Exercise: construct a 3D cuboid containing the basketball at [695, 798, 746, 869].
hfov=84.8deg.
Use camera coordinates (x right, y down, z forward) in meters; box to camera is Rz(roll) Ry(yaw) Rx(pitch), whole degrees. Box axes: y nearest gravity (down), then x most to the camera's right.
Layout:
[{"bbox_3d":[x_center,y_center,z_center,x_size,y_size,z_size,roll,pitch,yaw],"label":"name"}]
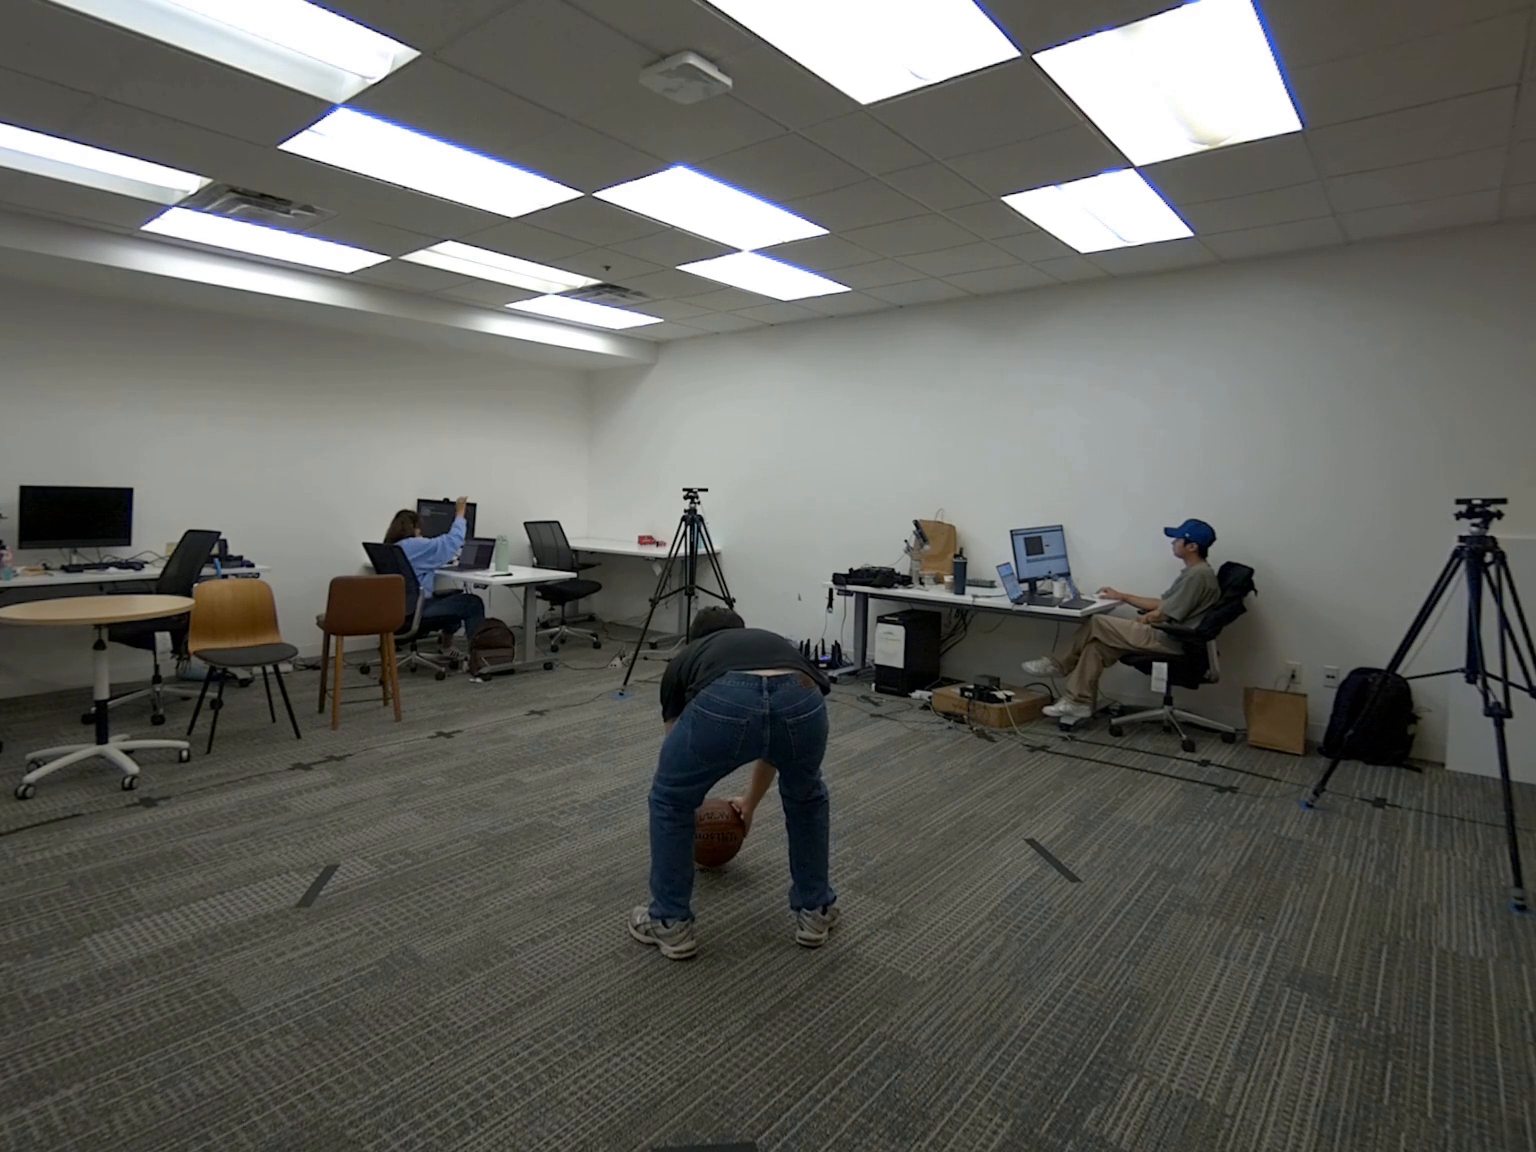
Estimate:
[{"bbox_3d":[-0.219,0.919,3.118,0.236,0.235,0.237,1,4,-2],"label":"basketball"}]
